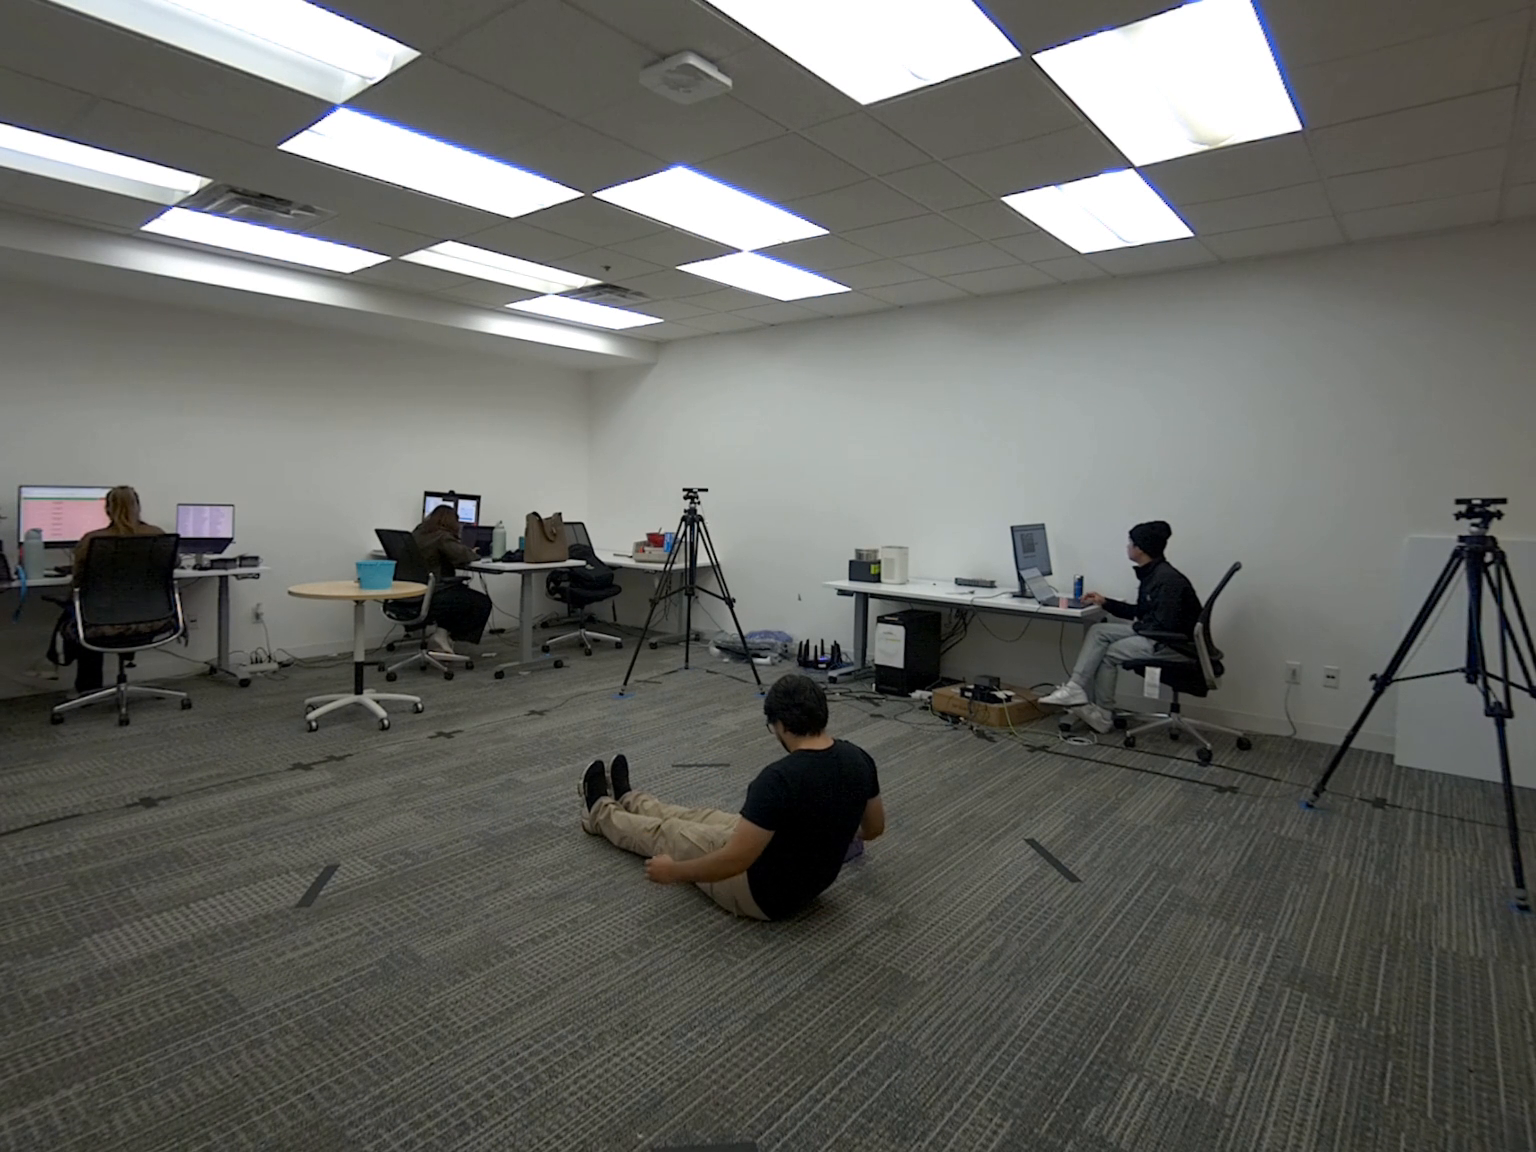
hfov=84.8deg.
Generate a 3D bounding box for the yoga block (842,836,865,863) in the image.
[{"bbox_3d":[0.234,1.013,3.305,0.237,0.076,0.144,4,5,41],"label":"yoga block"}]
